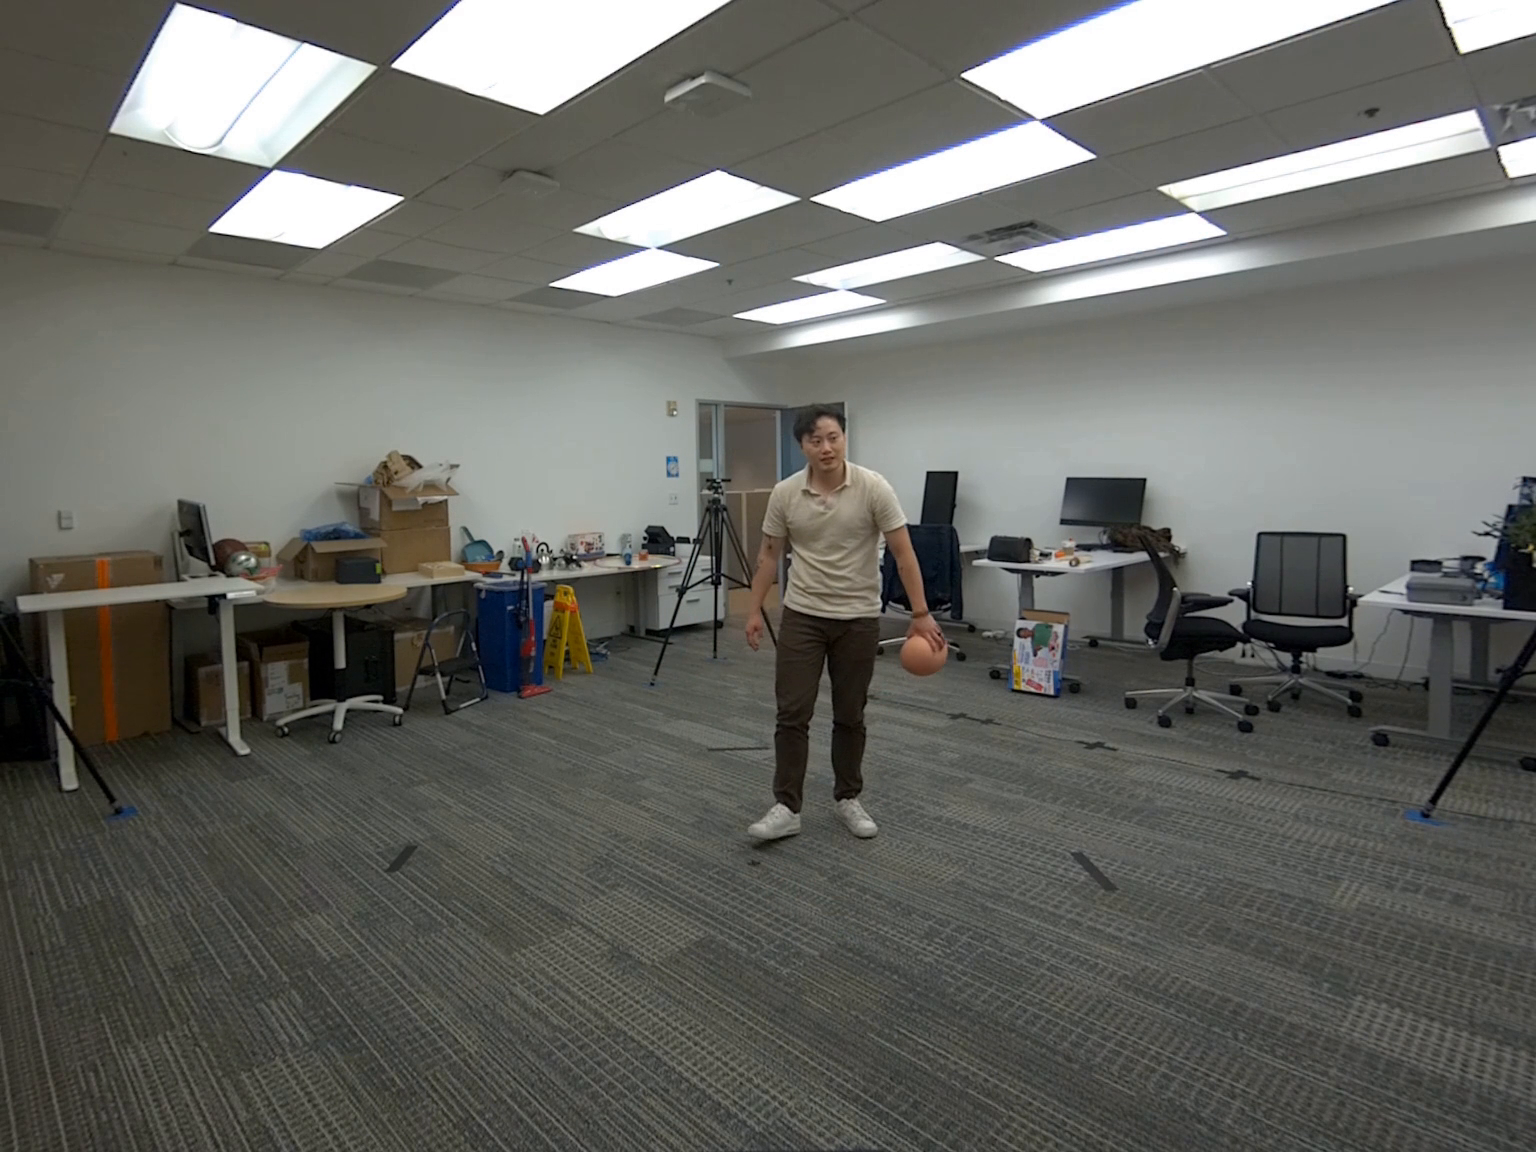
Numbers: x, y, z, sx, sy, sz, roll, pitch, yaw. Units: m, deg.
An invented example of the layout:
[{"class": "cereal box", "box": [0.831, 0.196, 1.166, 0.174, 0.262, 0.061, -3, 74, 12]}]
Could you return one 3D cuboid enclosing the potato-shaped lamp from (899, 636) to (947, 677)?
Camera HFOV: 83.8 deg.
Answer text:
[{"class": "potato-shaped lamp", "box": [0.577, 0.292, 3.219, 0.169, 0.171, 0.193, 19, 2, 23]}]
